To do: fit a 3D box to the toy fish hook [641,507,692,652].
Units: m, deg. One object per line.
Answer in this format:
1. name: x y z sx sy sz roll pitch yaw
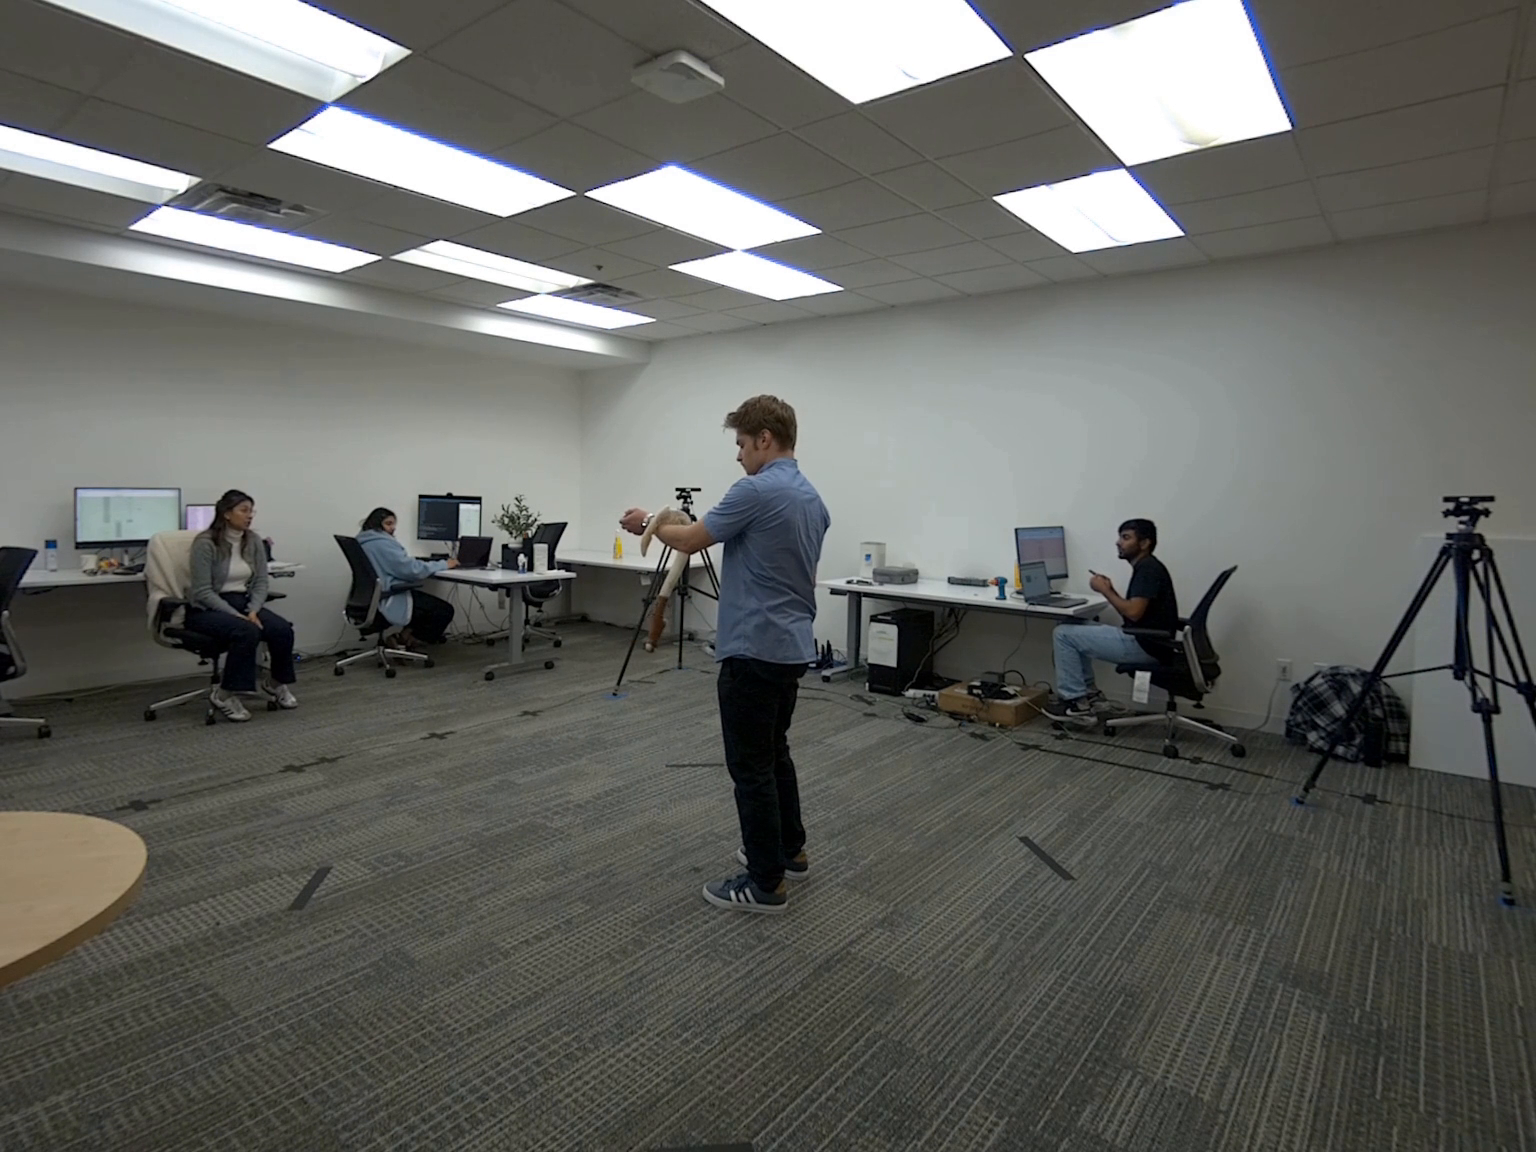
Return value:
1. toy fish hook: -0.397 0.010 2.952 0.216 0.509 0.050 19 -9 -38
